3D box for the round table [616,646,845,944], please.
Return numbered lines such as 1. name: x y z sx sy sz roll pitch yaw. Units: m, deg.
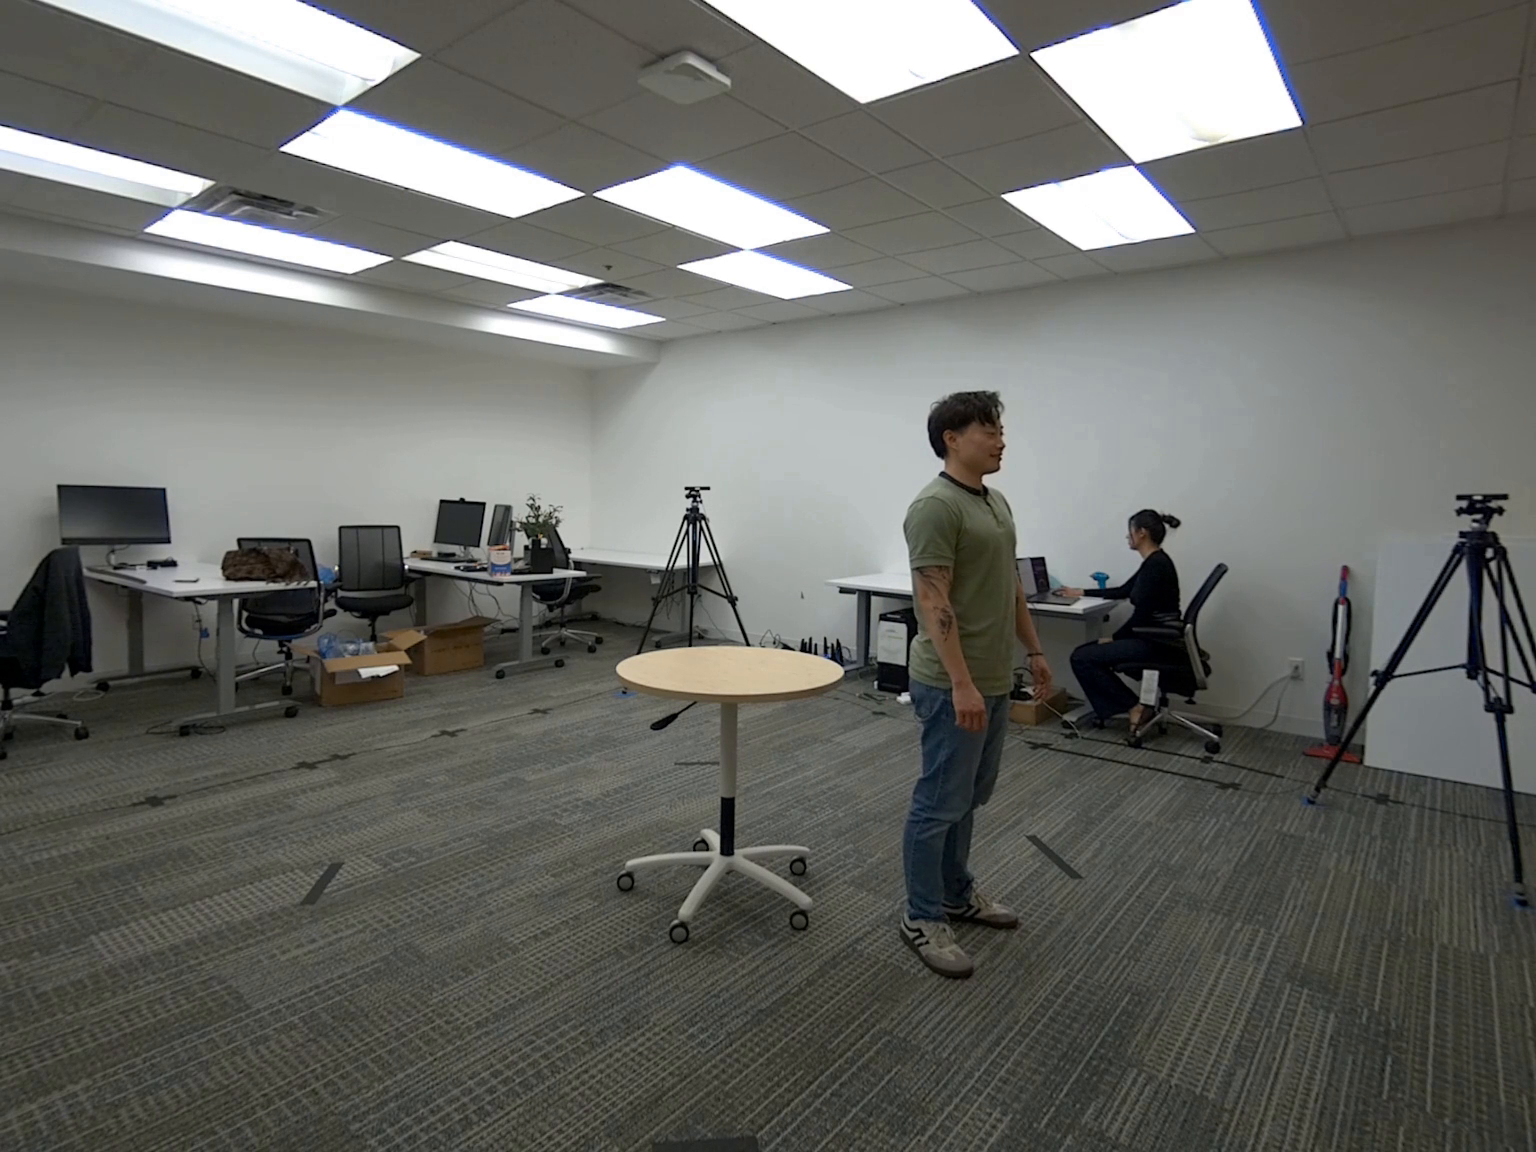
1. round table: -0.145 0.698 2.893 0.763 0.791 0.768 1 4 -2
